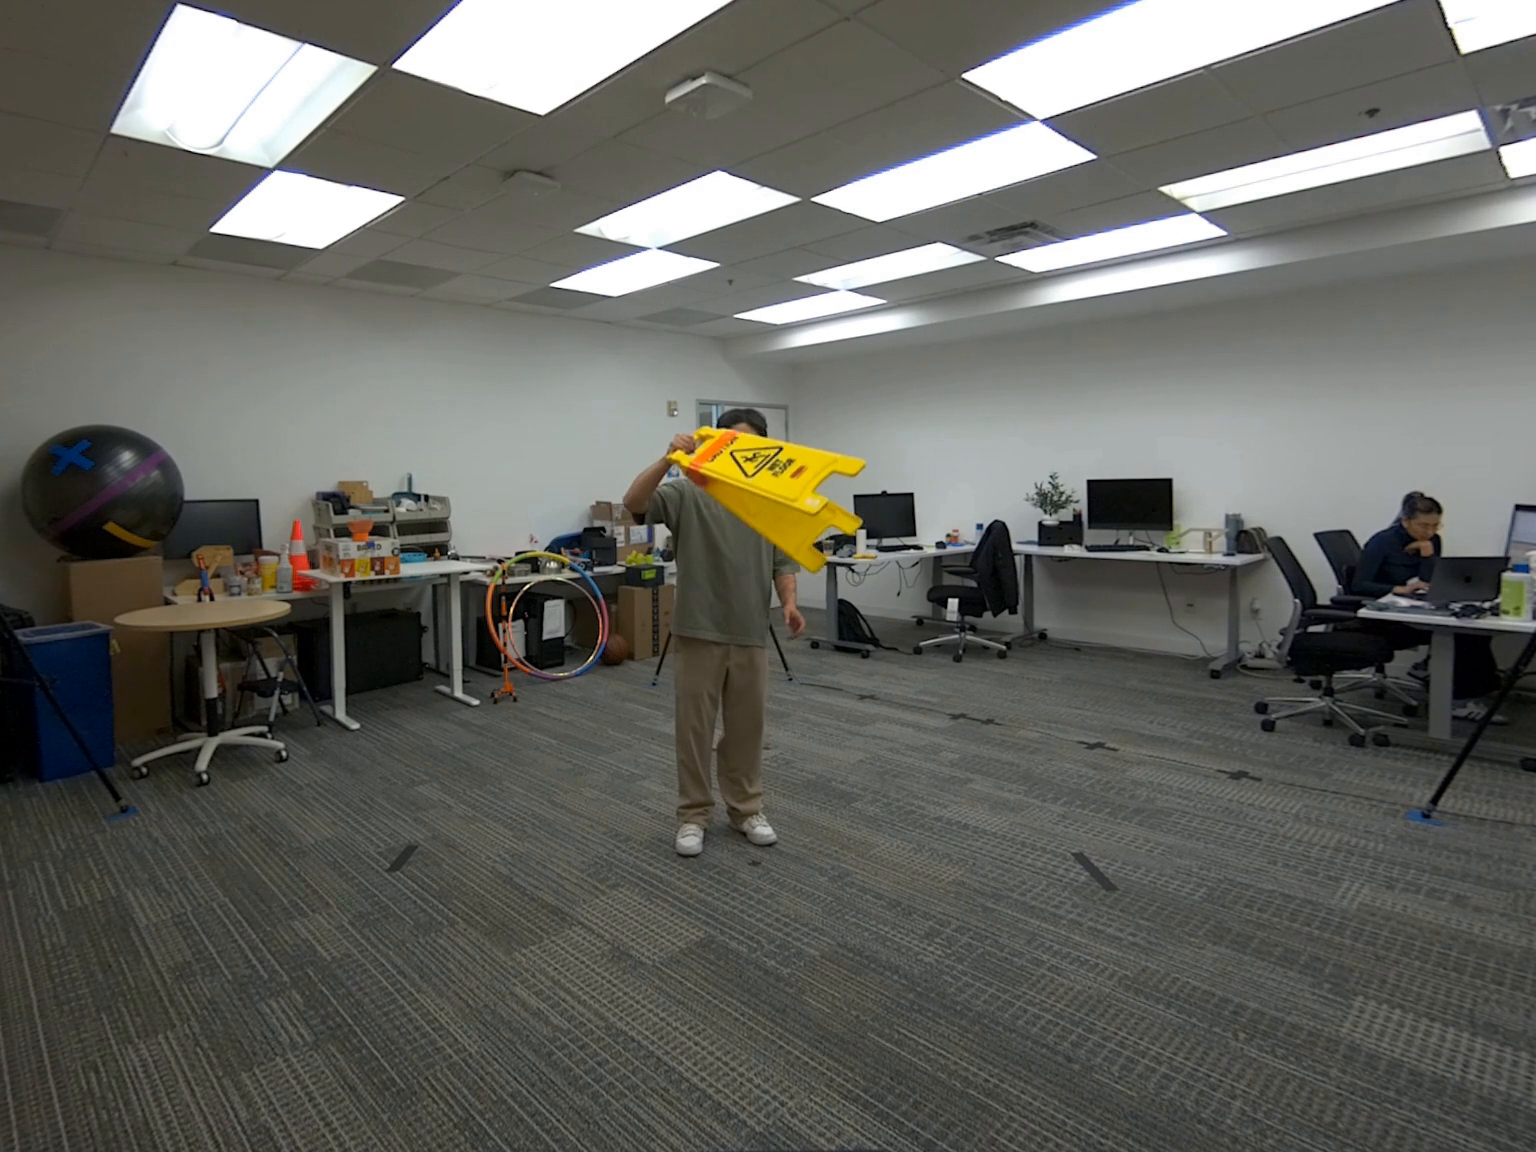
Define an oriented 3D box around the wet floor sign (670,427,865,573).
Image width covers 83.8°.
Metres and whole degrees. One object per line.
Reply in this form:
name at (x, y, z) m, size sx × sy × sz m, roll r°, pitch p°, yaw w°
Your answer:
wet floor sign at (-0.035, -0.306, 2.790) m, size 0.667 × 0.281 × 0.281 m, roll 31°, pitch 57°, yaw 27°
